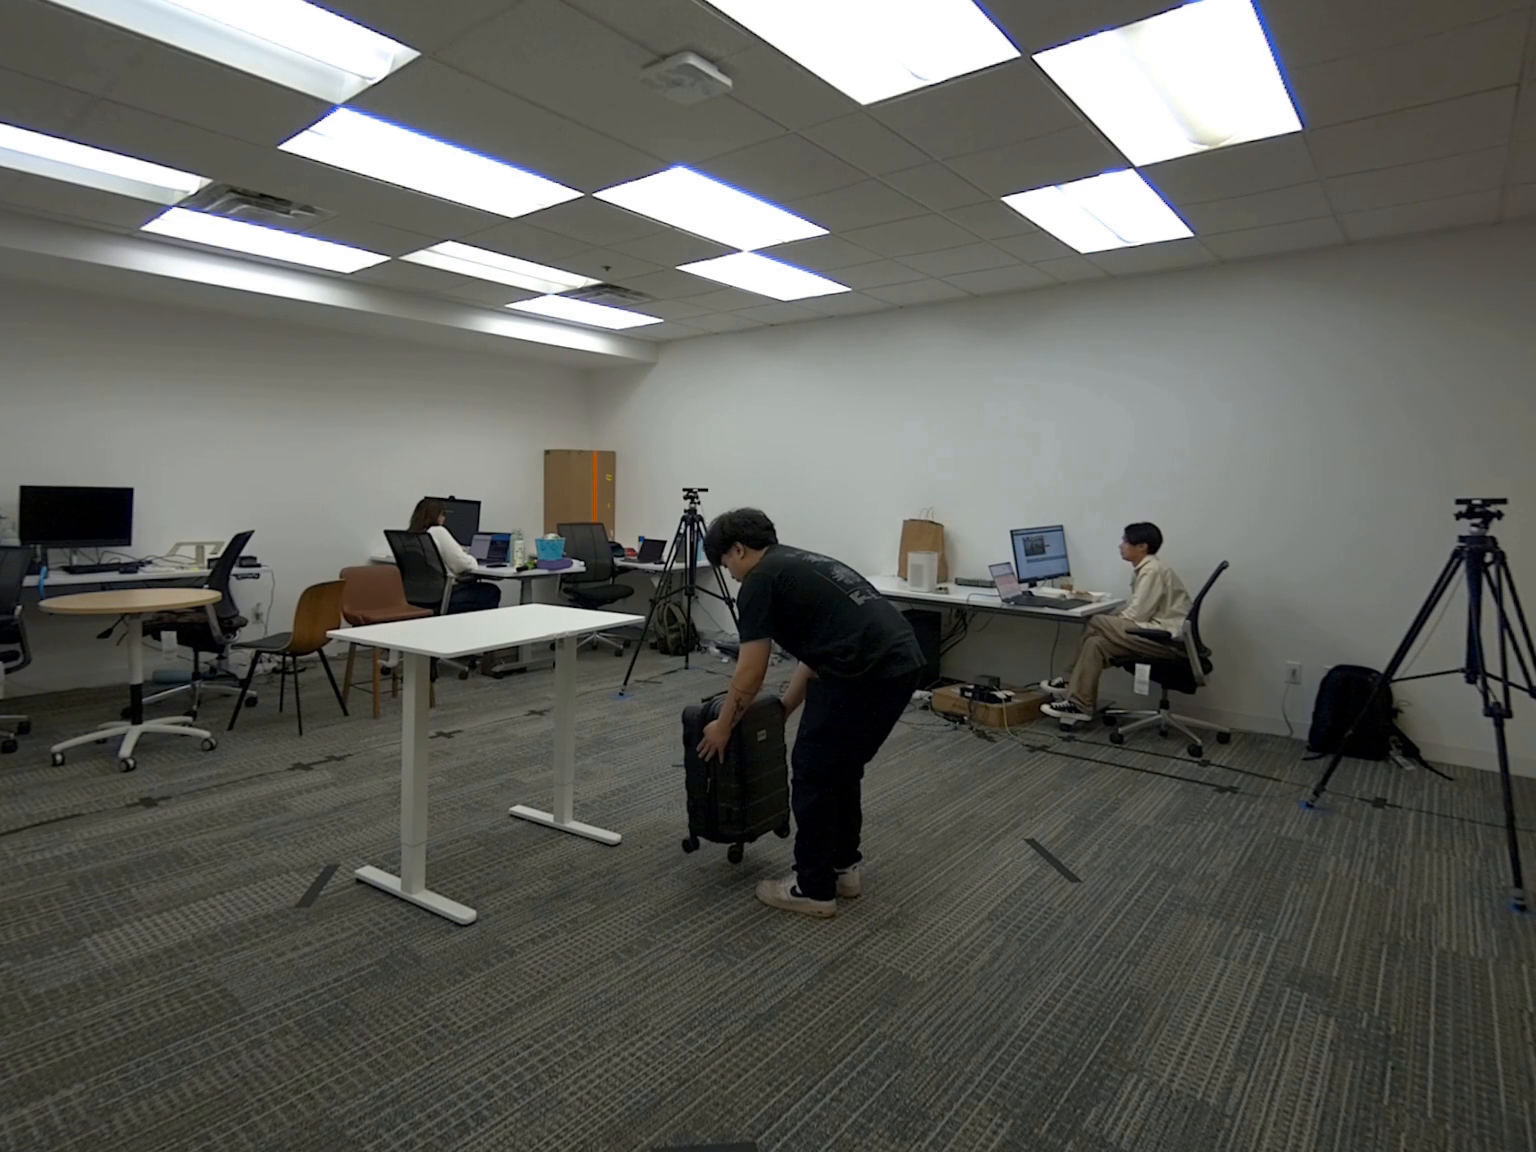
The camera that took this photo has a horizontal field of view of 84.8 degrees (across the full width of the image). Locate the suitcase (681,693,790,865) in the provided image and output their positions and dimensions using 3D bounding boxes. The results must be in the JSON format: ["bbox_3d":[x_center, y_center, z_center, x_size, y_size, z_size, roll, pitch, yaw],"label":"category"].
[{"bbox_3d":[-0.127,0.706,3.132,0.255,0.550,0.364,-3,-1,38],"label":"suitcase"}]
